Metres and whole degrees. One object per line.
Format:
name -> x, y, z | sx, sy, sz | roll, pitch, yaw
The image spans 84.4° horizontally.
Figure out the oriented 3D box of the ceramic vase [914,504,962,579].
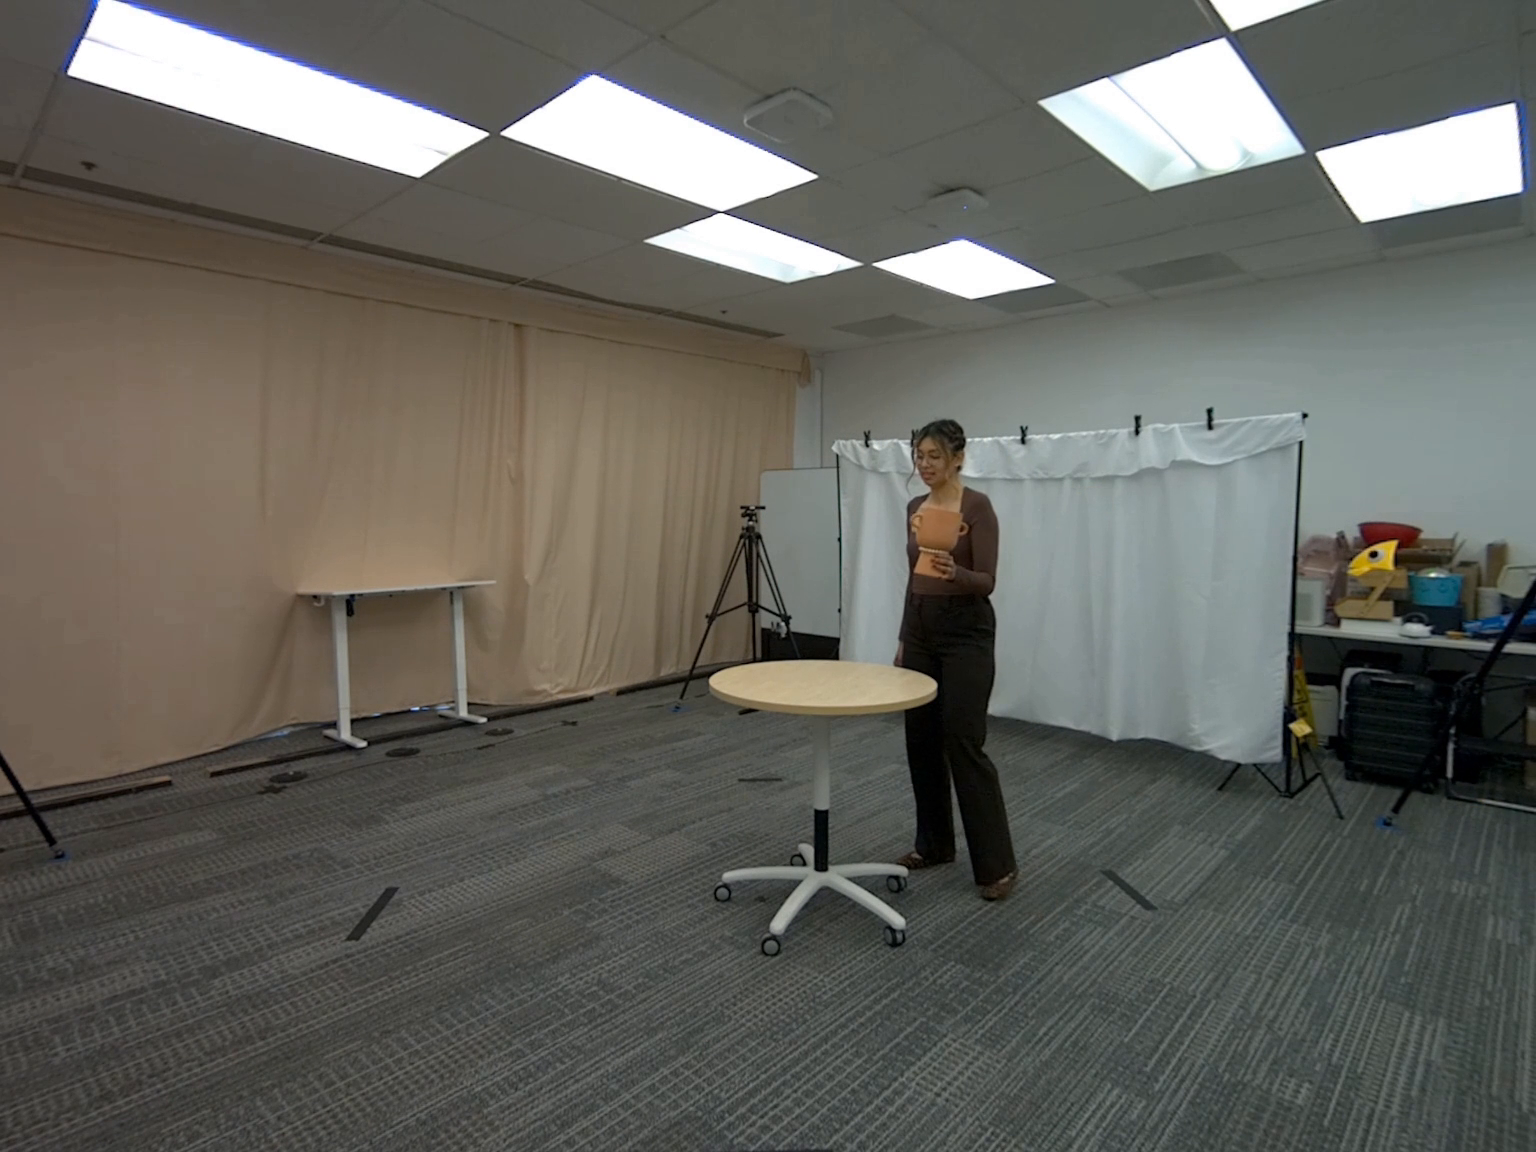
ceramic vase -> 0.566, -0.109, 2.771 | 0.164, 0.219, 0.130 | 12, 4, 32
